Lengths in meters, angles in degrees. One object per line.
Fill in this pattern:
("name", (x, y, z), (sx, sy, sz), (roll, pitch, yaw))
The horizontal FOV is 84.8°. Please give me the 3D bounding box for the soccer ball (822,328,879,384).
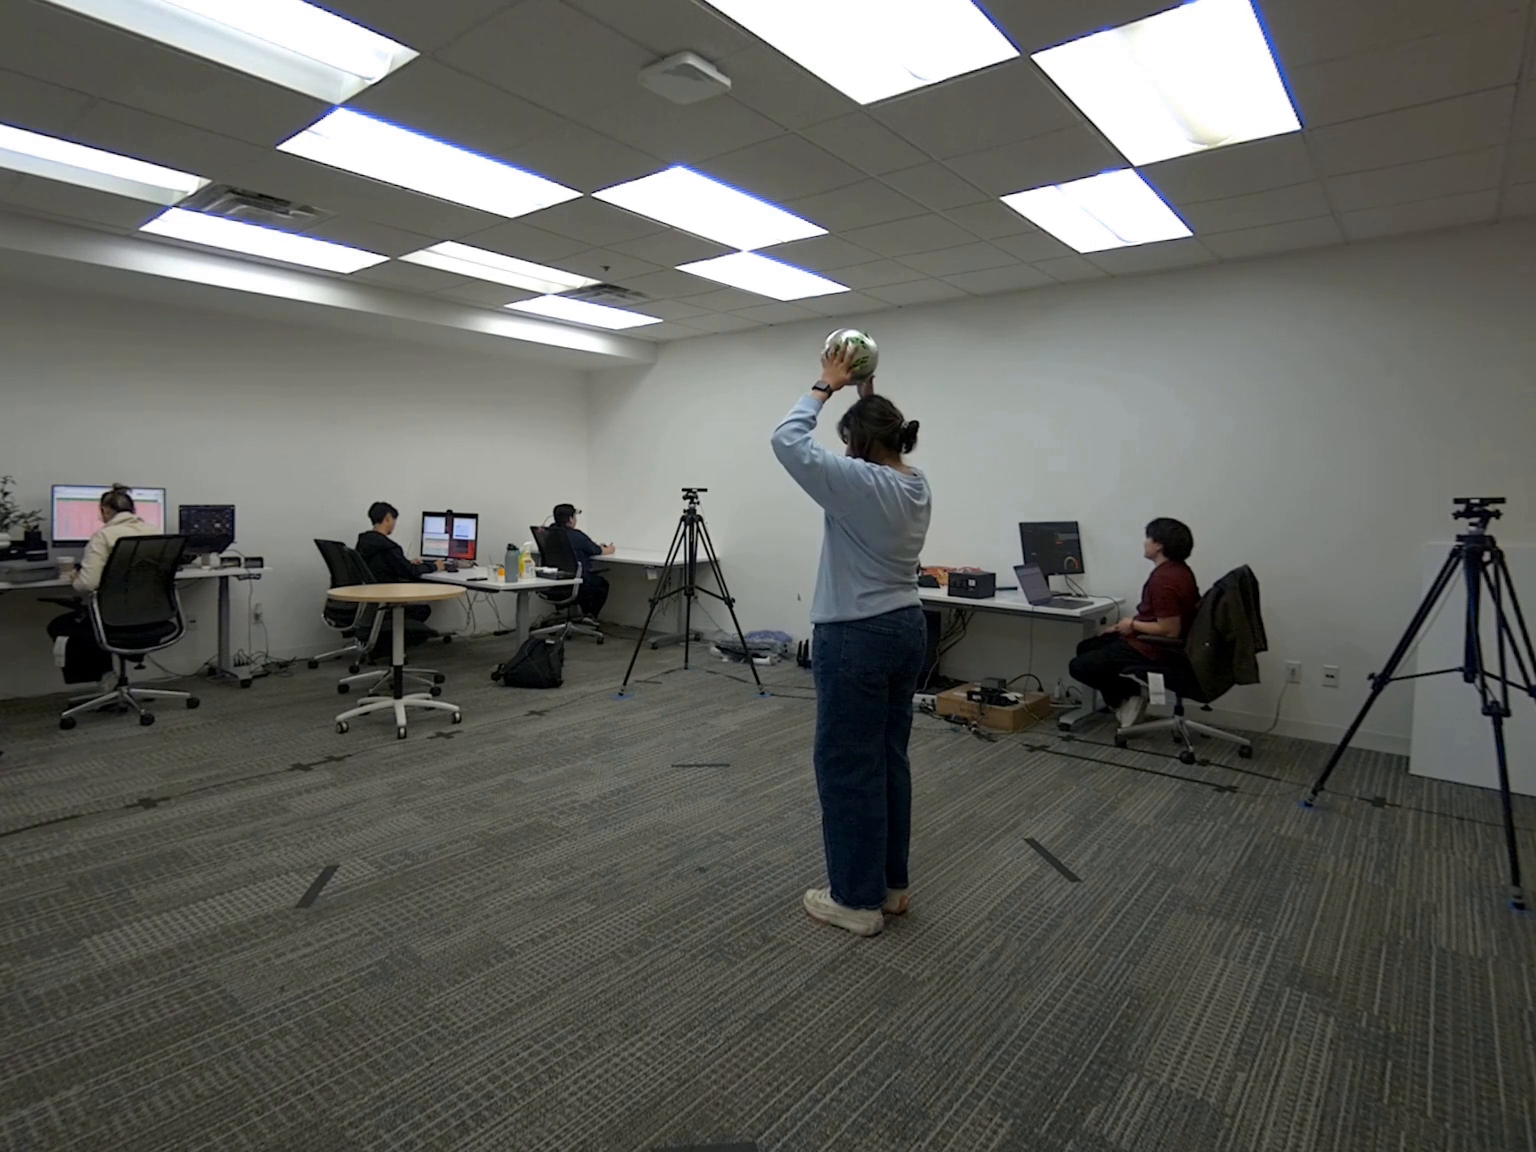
("soccer ball", (0.258, -0.716, 2.794), (0.187, 0.187, 0.188), (1, 4, -2))
